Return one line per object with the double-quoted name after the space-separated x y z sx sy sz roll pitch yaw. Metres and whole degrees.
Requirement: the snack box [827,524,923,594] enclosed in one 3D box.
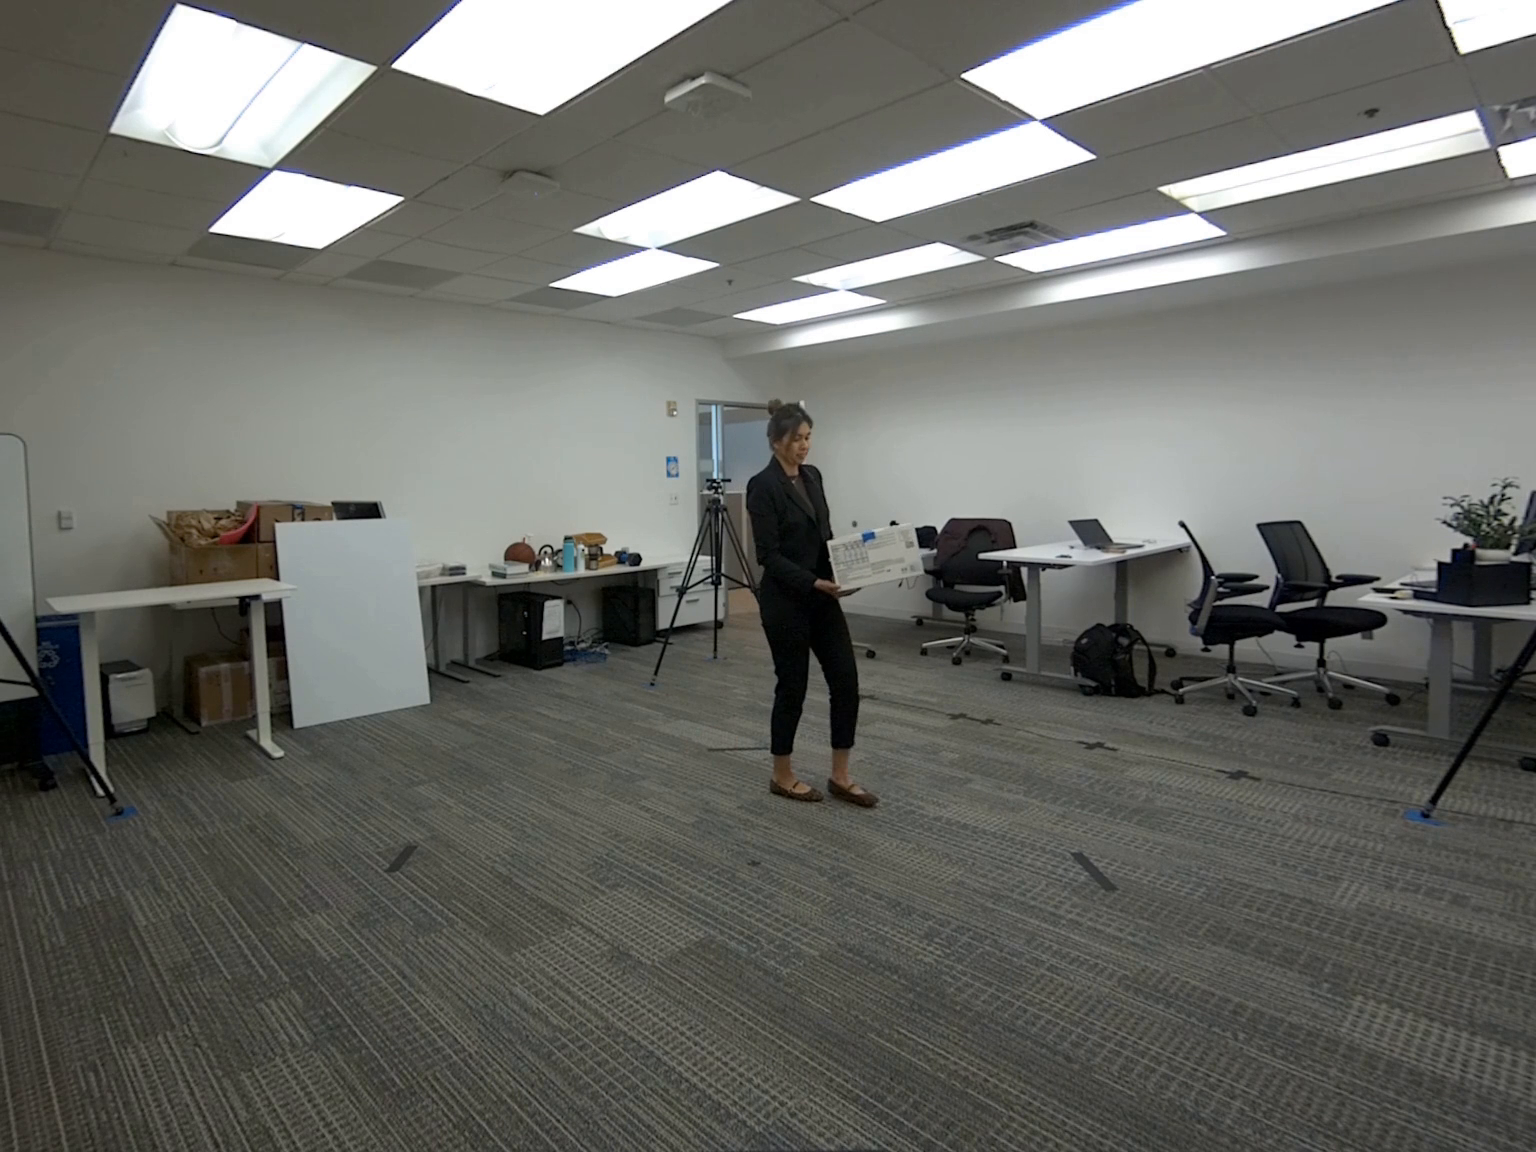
0.430 -0.076 3.483 0.342 0.206 0.402 -12 0 7 "snack box"
